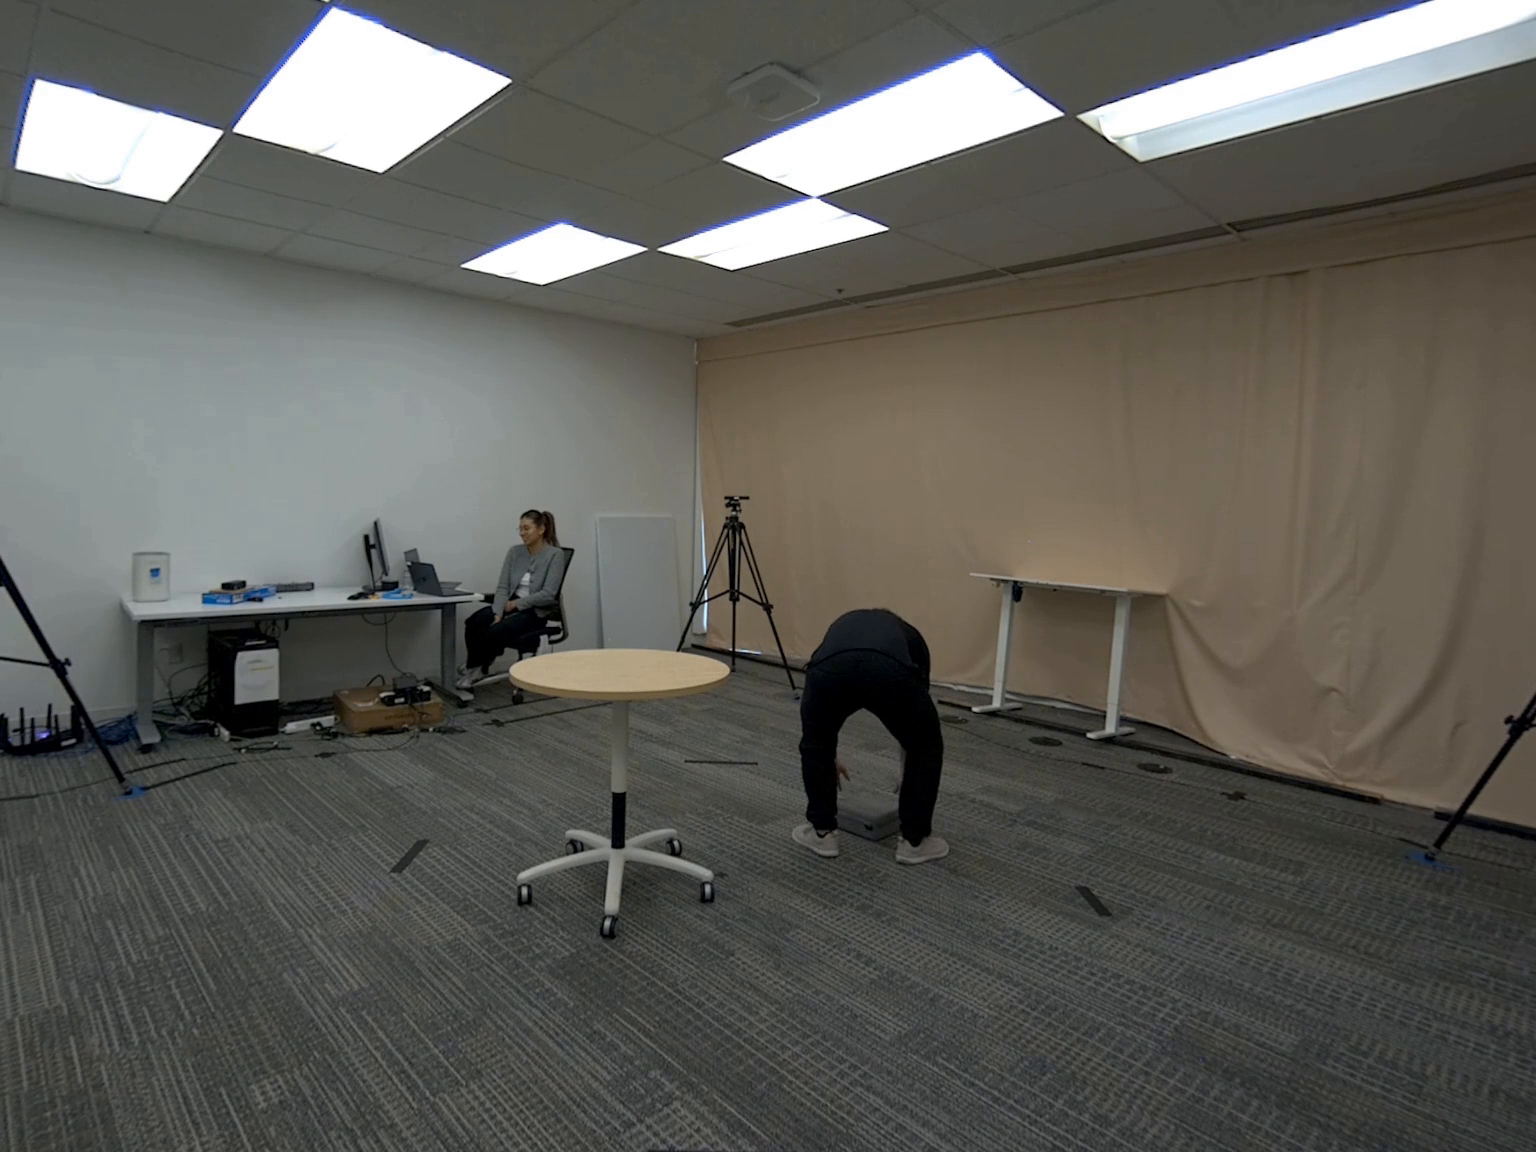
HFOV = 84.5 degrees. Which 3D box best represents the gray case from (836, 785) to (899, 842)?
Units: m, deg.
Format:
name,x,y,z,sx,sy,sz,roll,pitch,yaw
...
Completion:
name,x,y,z,sx,sy,sz,roll,pitch,yaw
gray case,0.424,1.010,3.603,0.263,0.104,0.254,4,4,44
